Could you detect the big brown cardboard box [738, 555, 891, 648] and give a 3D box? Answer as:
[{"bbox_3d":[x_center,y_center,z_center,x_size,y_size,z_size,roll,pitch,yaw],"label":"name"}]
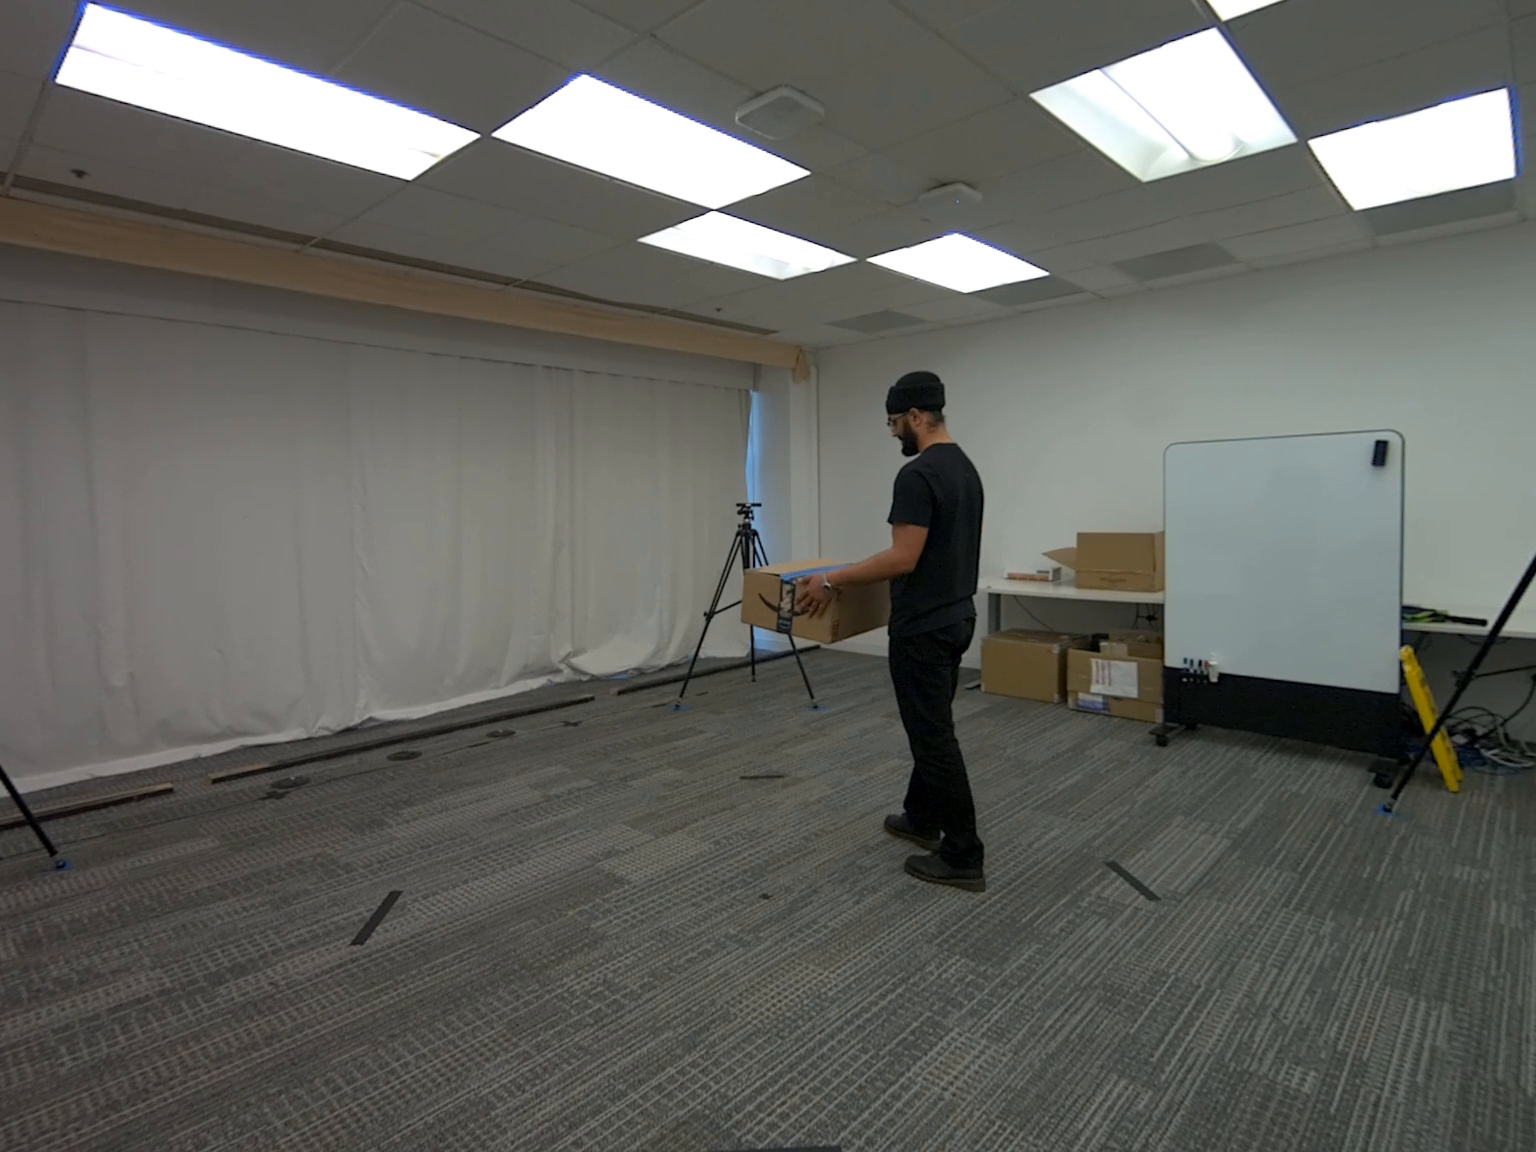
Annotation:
[{"bbox_3d":[0.229,0.083,3.429,0.431,0.232,0.572,11,11,35],"label":"big brown cardboard box"}]
